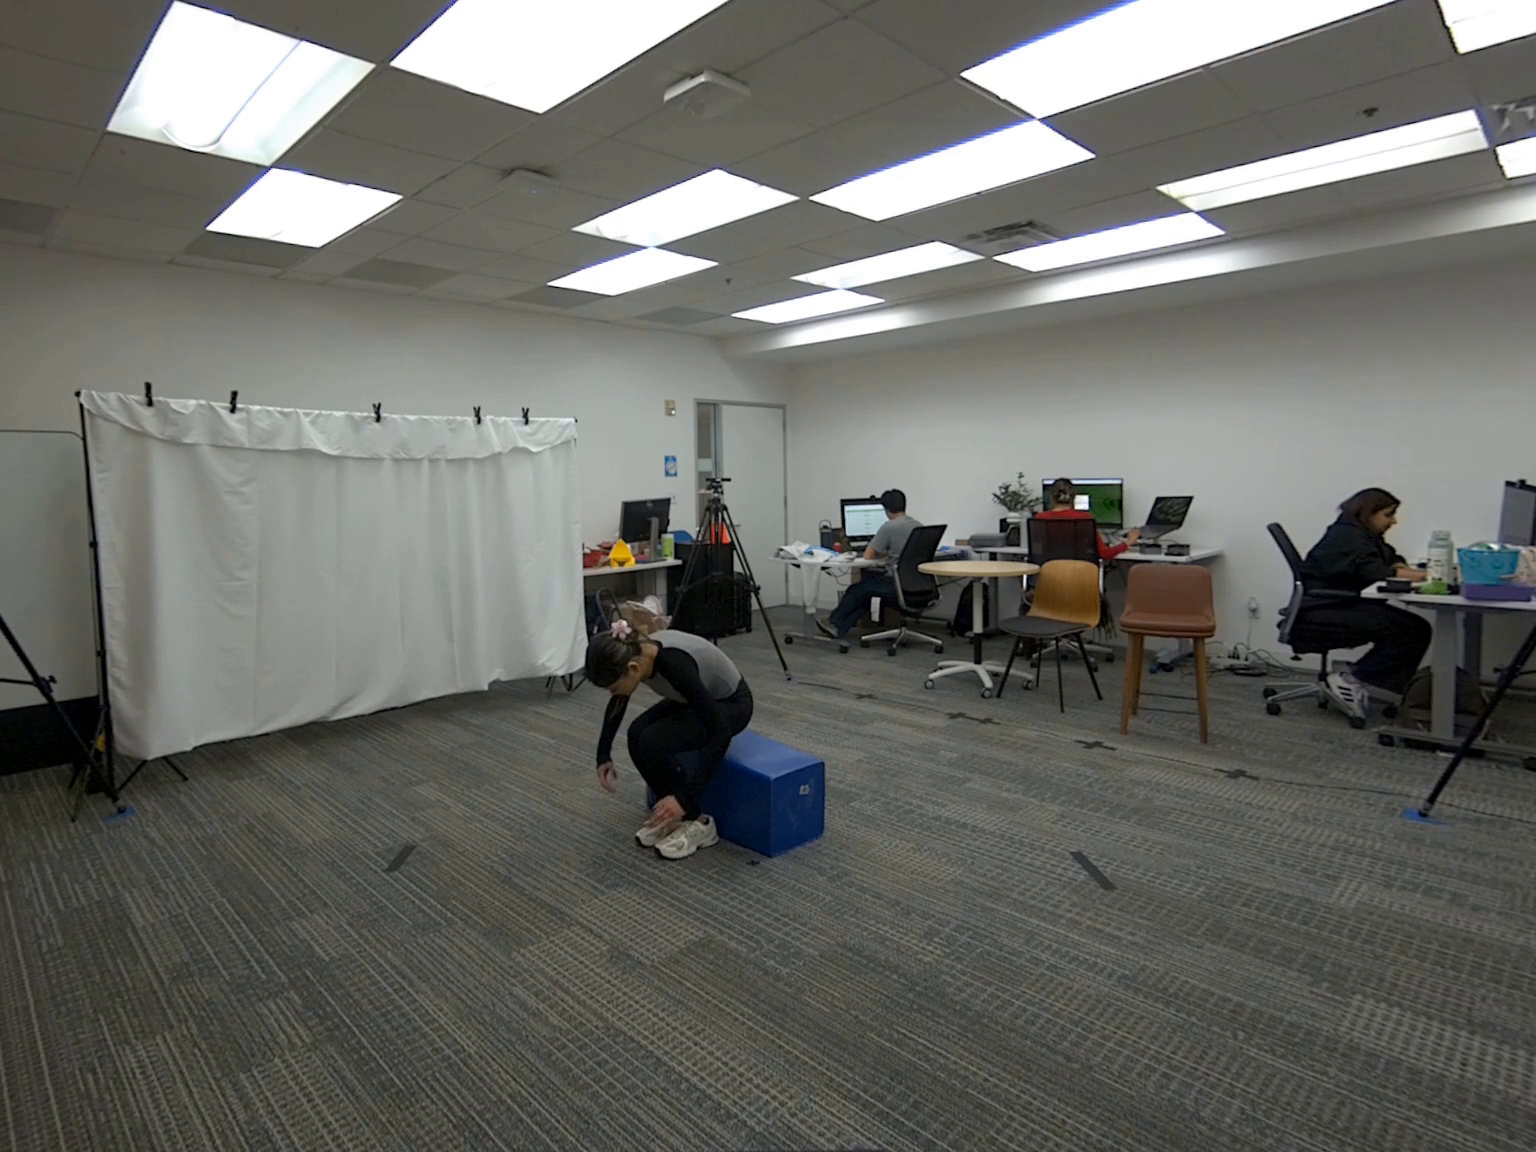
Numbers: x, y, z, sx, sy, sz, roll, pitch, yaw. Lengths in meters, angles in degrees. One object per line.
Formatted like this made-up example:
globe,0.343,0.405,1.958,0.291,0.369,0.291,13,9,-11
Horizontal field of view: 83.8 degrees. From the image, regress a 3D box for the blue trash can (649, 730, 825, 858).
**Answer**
blue trash can,-0.131,0.825,3.486,0.368,0.372,0.736,-5,9,-44
